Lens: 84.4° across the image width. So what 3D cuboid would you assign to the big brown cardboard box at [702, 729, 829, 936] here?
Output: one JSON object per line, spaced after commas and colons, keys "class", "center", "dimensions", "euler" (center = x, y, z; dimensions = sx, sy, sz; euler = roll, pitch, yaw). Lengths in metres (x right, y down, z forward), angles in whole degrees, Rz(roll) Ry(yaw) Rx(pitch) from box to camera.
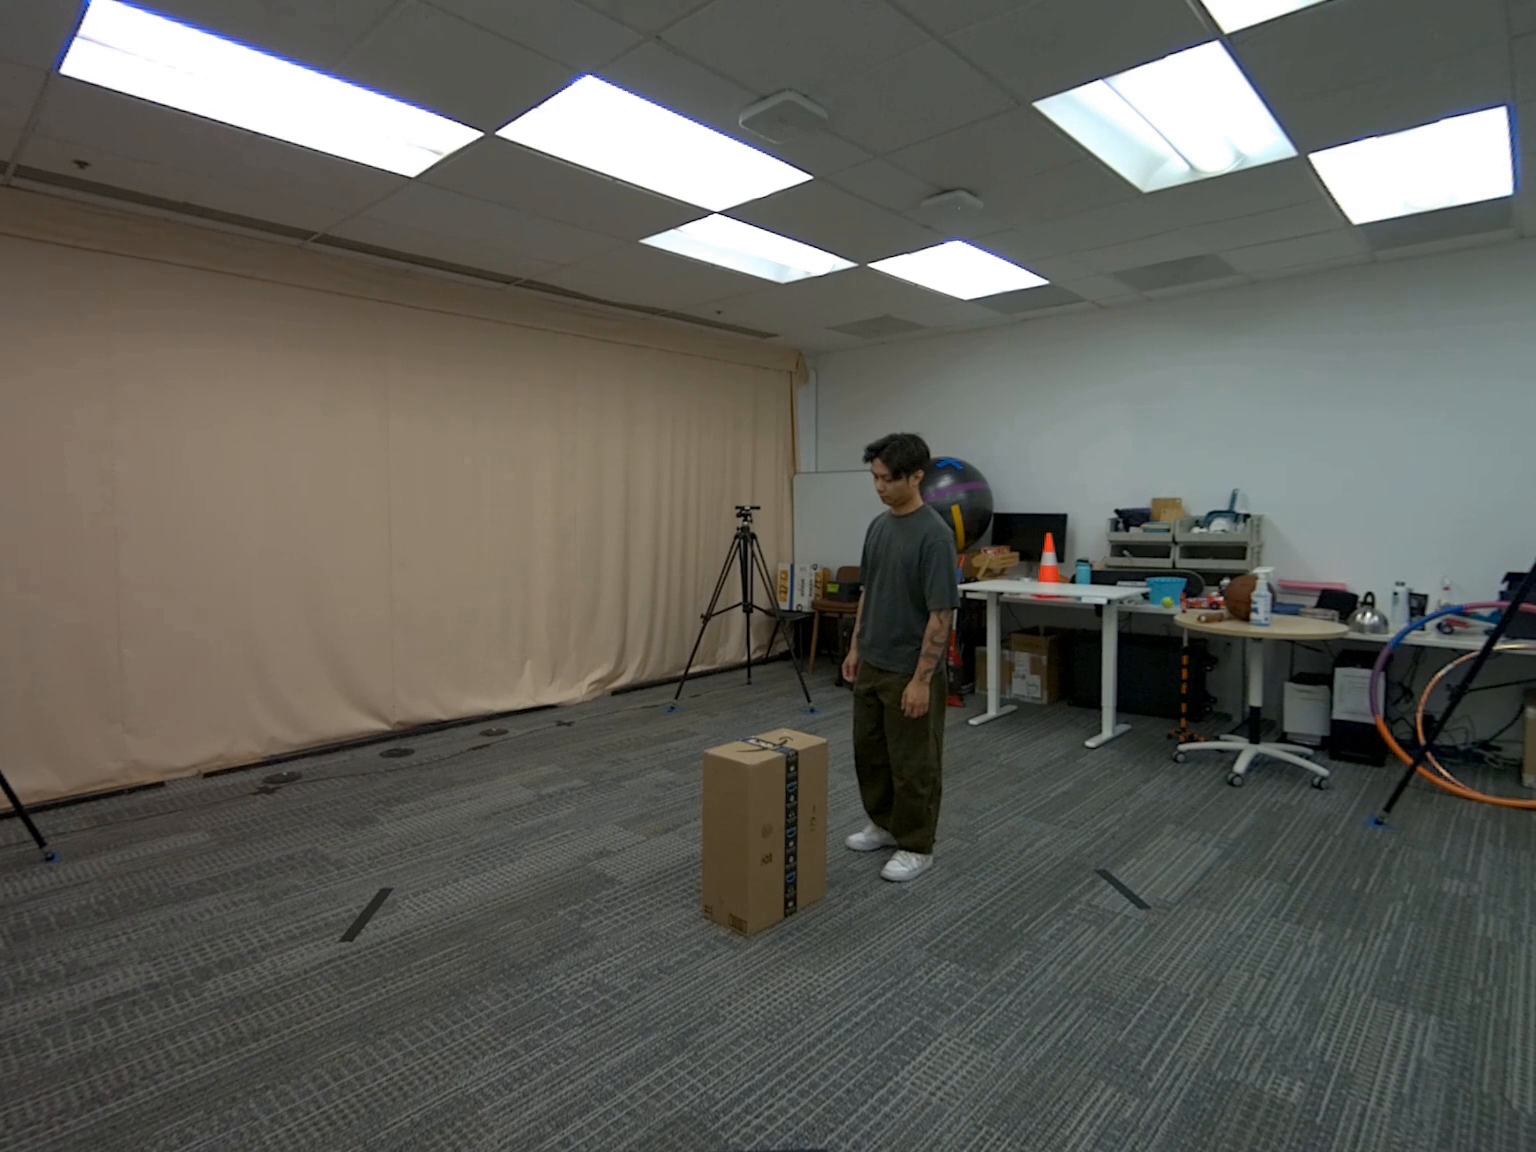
{"class": "big brown cardboard box", "center": [-0.005, 0.862, 2.918], "dimensions": [0.241, 0.588, 0.404], "euler": [2, 2, 43]}
